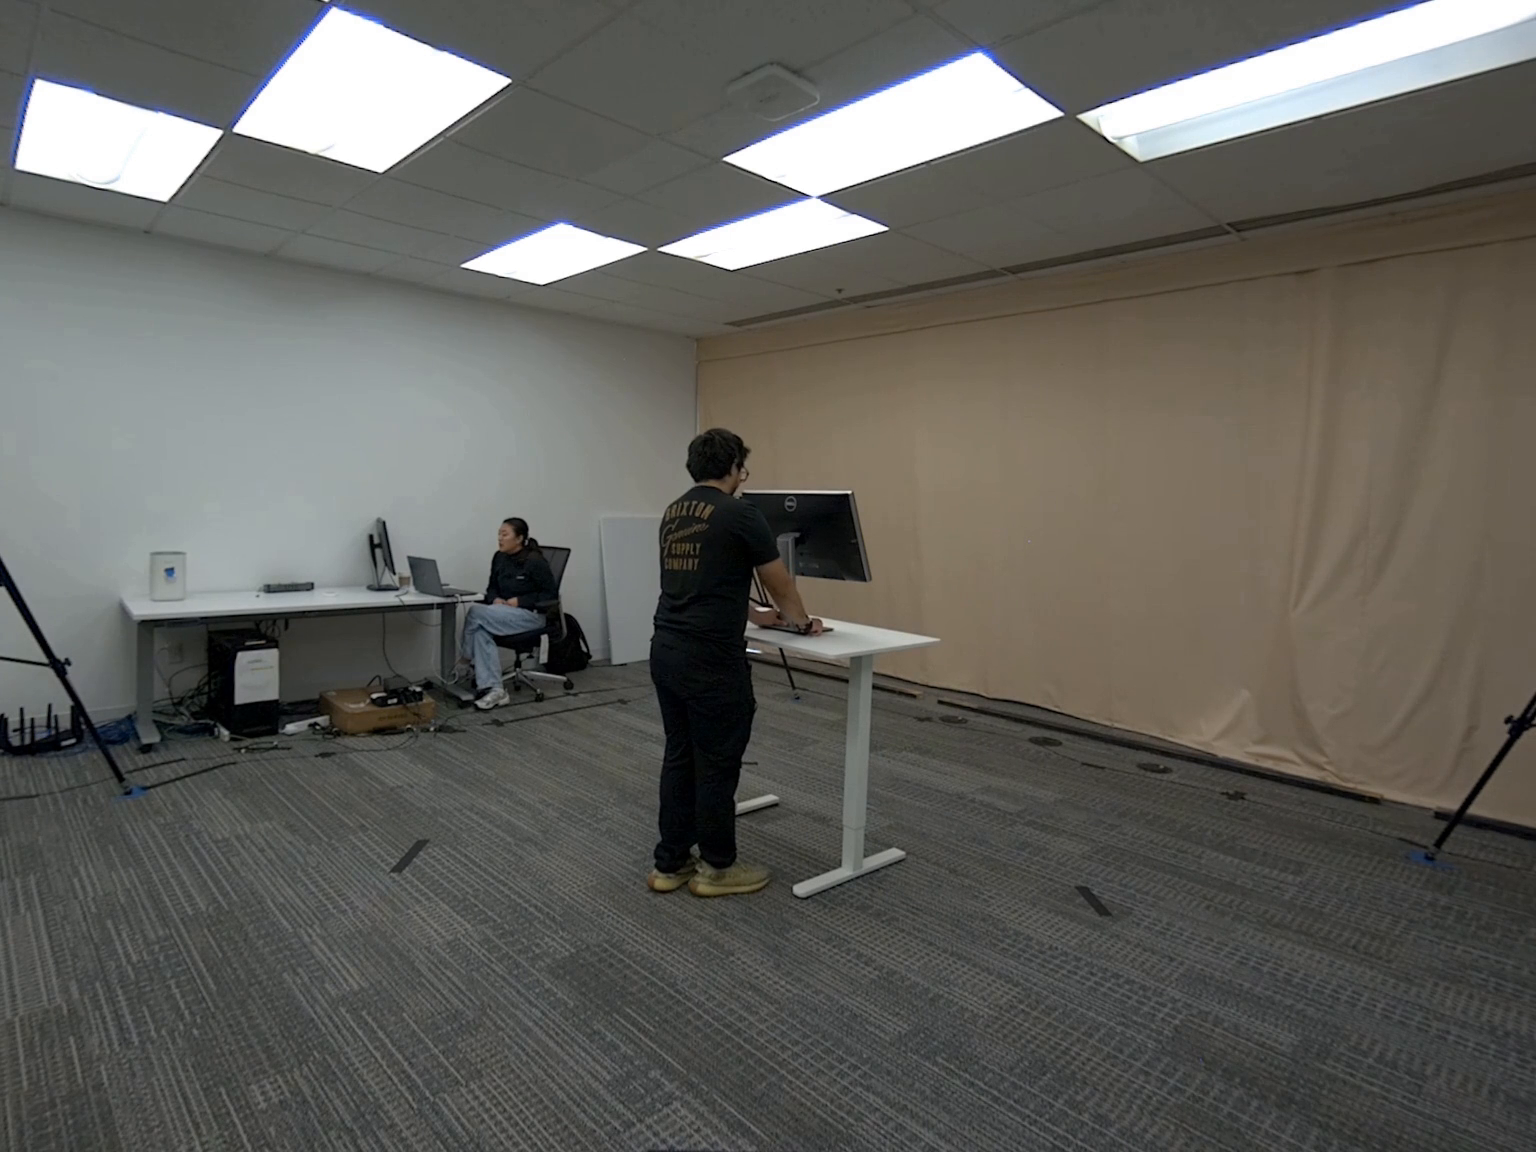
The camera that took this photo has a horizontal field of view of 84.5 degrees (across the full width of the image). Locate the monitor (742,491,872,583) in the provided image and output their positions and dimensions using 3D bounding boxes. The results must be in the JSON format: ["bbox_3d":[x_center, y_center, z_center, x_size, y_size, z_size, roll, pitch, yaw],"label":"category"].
[{"bbox_3d":[0.095,-0.059,3.287,0.580,0.548,0.207,6,17,44],"label":"monitor"}]
